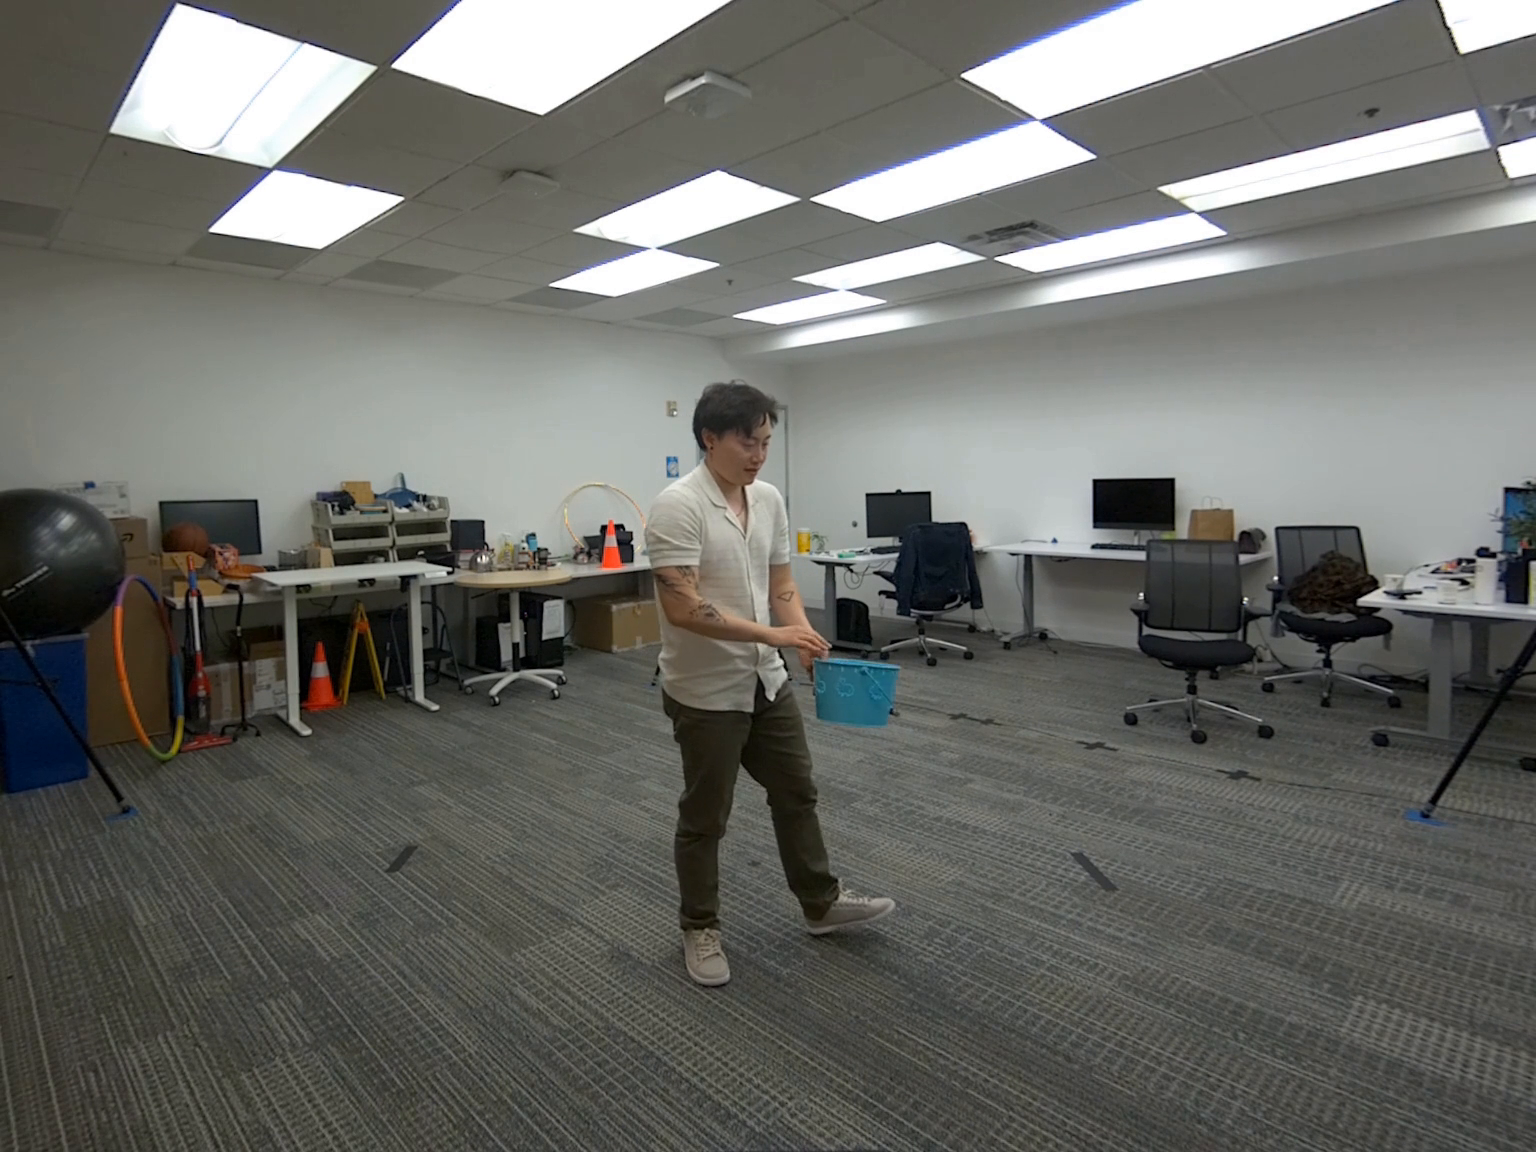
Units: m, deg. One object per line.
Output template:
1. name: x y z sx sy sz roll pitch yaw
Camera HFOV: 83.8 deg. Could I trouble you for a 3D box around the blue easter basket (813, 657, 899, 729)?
1. blue easter basket: 0.229 0.299 2.194 0.243 0.156 0.243 5 -2 -1
